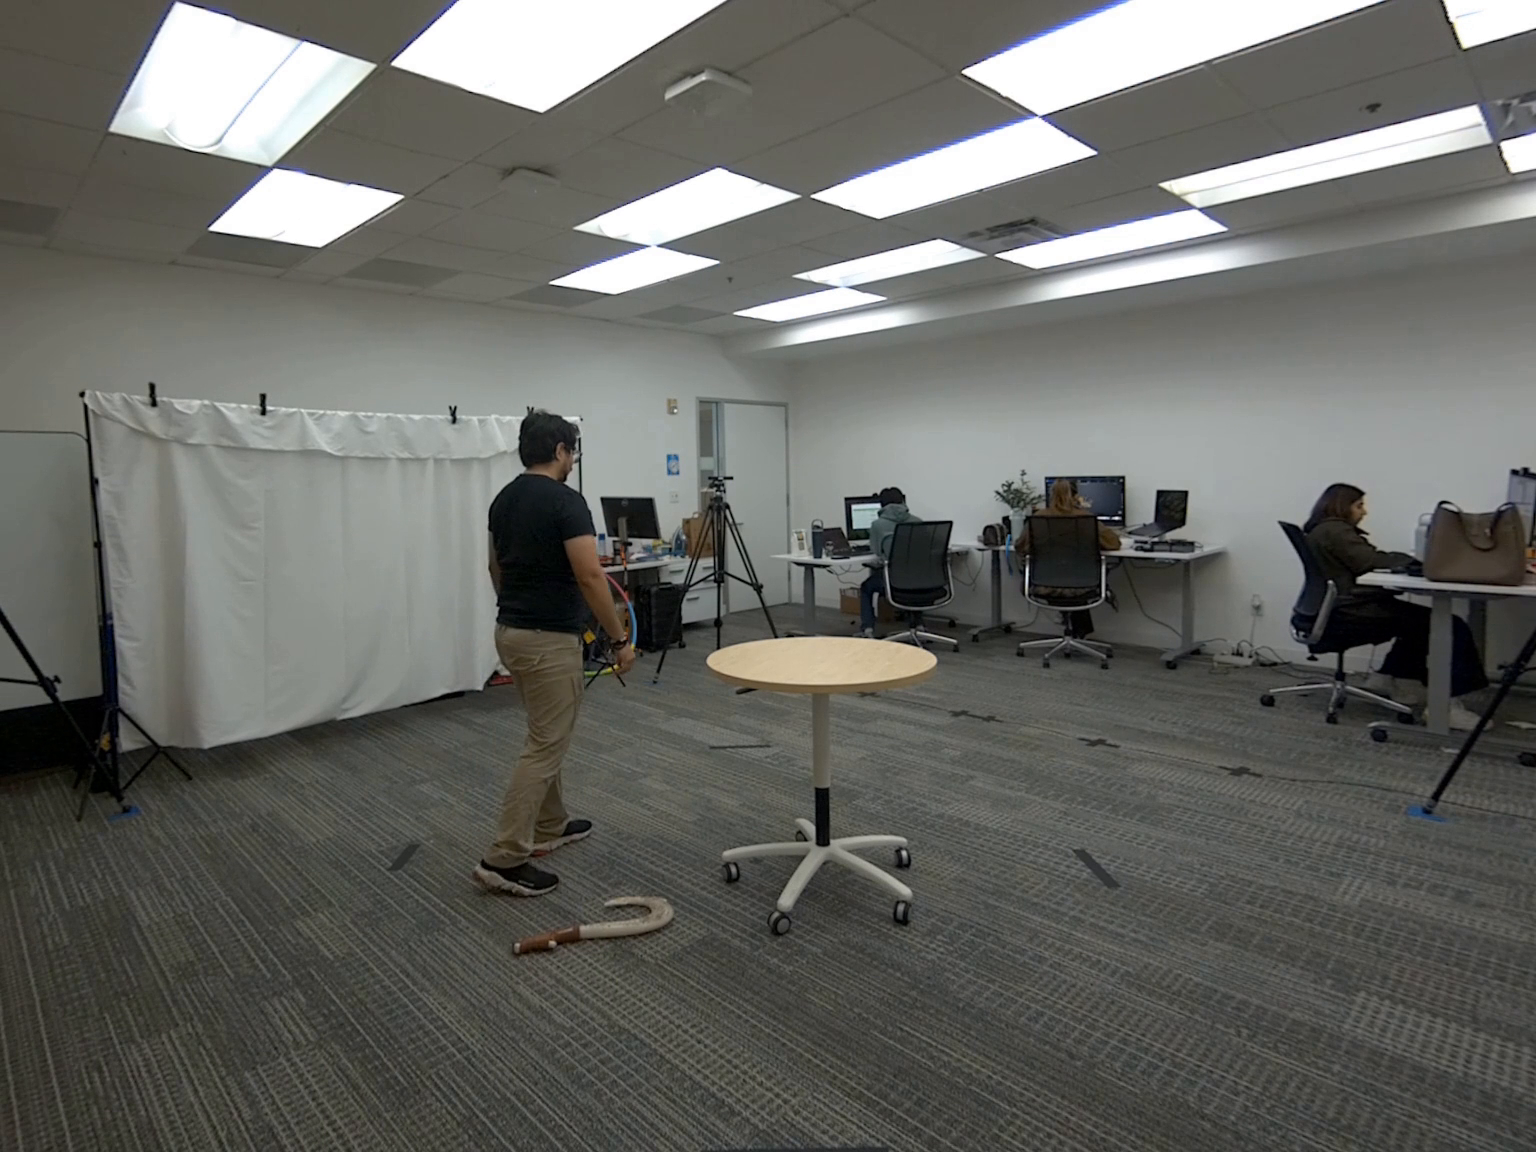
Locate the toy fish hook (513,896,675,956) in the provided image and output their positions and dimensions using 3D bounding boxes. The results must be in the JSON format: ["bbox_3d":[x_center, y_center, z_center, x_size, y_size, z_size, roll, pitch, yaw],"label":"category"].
[{"bbox_3d":[-0.544,1.086,2.666,0.497,0.048,0.229,-4,1,-22],"label":"toy fish hook"}]
